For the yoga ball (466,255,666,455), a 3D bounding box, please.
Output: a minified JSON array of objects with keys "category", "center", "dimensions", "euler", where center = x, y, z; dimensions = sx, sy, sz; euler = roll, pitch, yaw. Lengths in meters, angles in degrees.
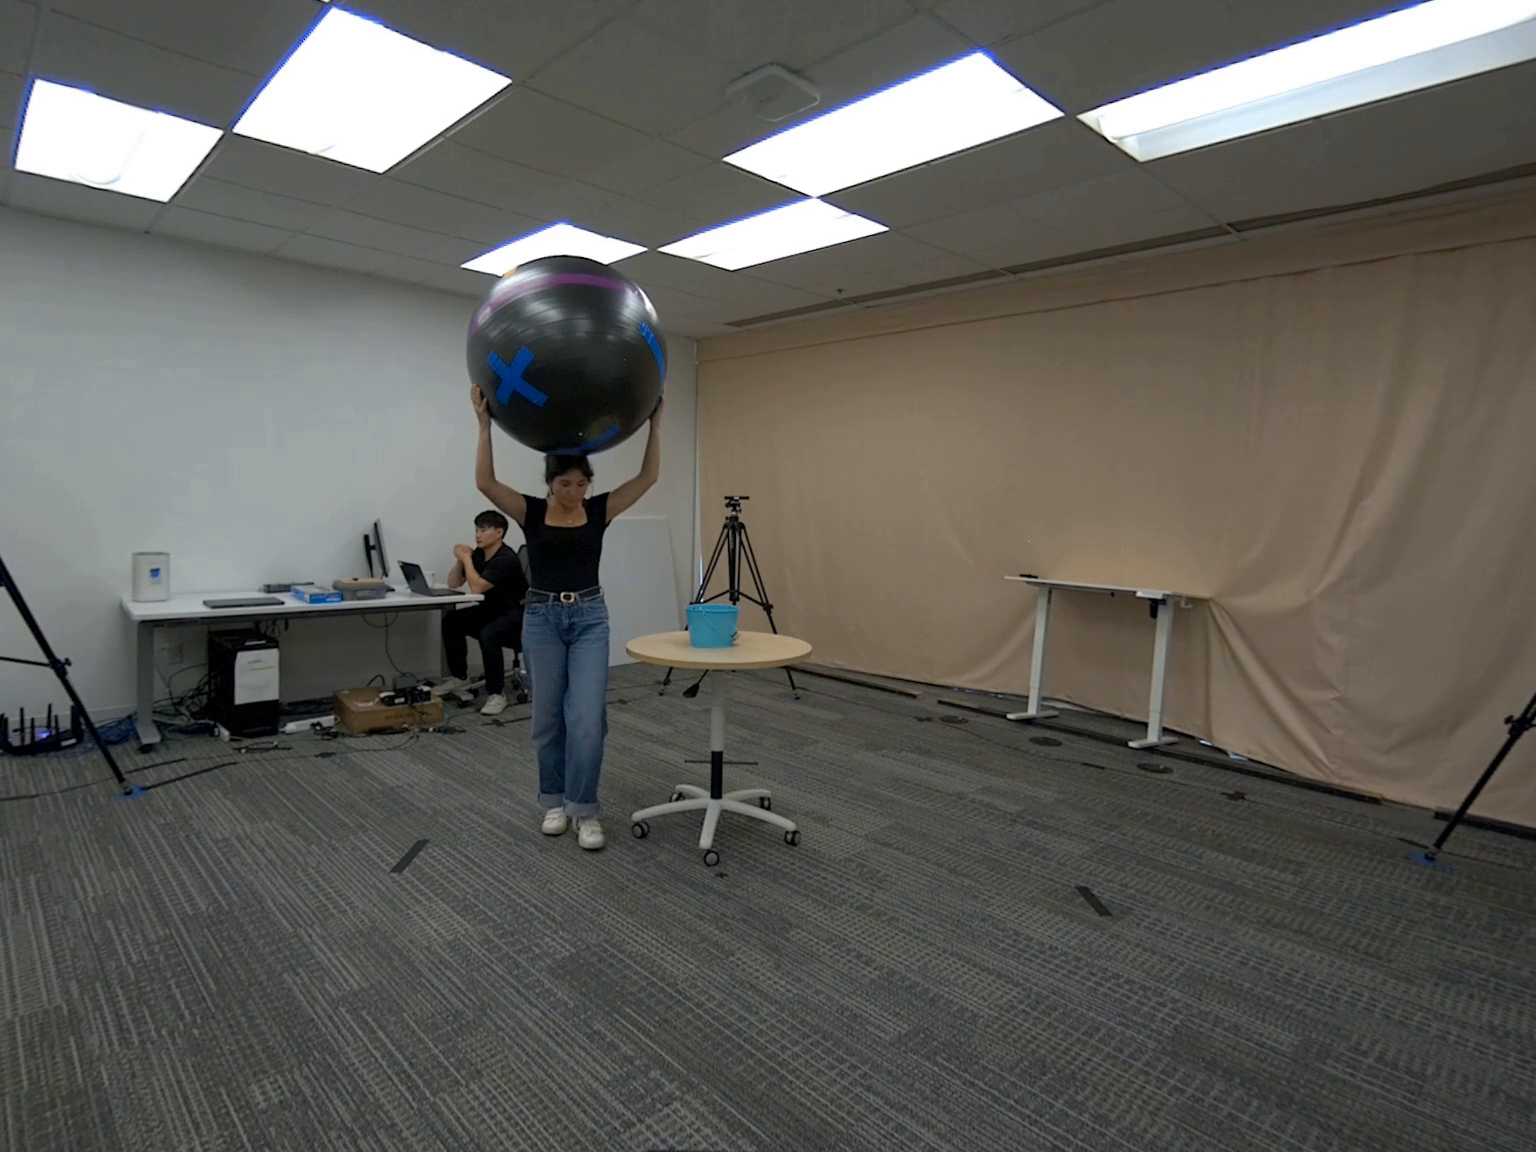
[{"category":"yoga ball","center":[-0.773,-0.836,3.239],"dimensions":[0.757,0.756,0.761],"euler":[1,4,-1]}]
